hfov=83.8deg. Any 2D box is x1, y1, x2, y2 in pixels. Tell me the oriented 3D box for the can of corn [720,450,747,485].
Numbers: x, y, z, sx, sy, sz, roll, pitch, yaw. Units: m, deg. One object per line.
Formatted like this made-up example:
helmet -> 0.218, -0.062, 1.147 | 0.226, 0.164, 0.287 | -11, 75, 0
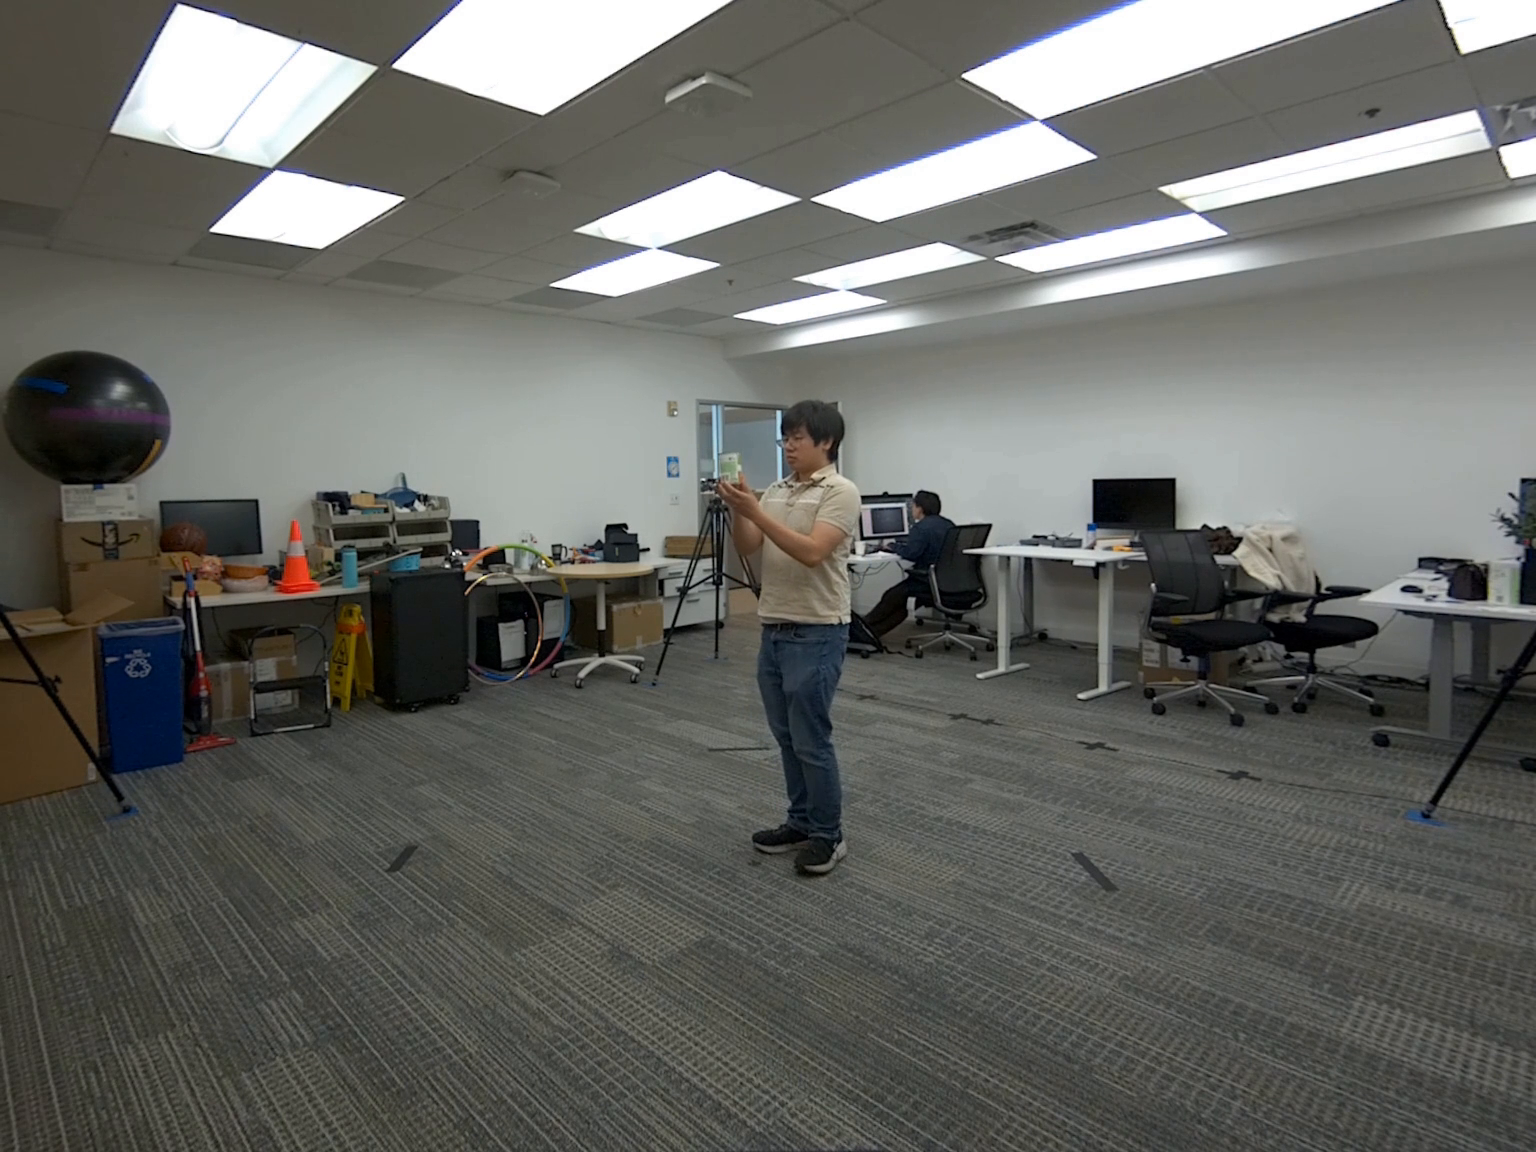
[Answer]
can of corn -> -0.120, -0.368, 2.931 | 0.074, 0.111, 0.074 | -9, -1, -2
